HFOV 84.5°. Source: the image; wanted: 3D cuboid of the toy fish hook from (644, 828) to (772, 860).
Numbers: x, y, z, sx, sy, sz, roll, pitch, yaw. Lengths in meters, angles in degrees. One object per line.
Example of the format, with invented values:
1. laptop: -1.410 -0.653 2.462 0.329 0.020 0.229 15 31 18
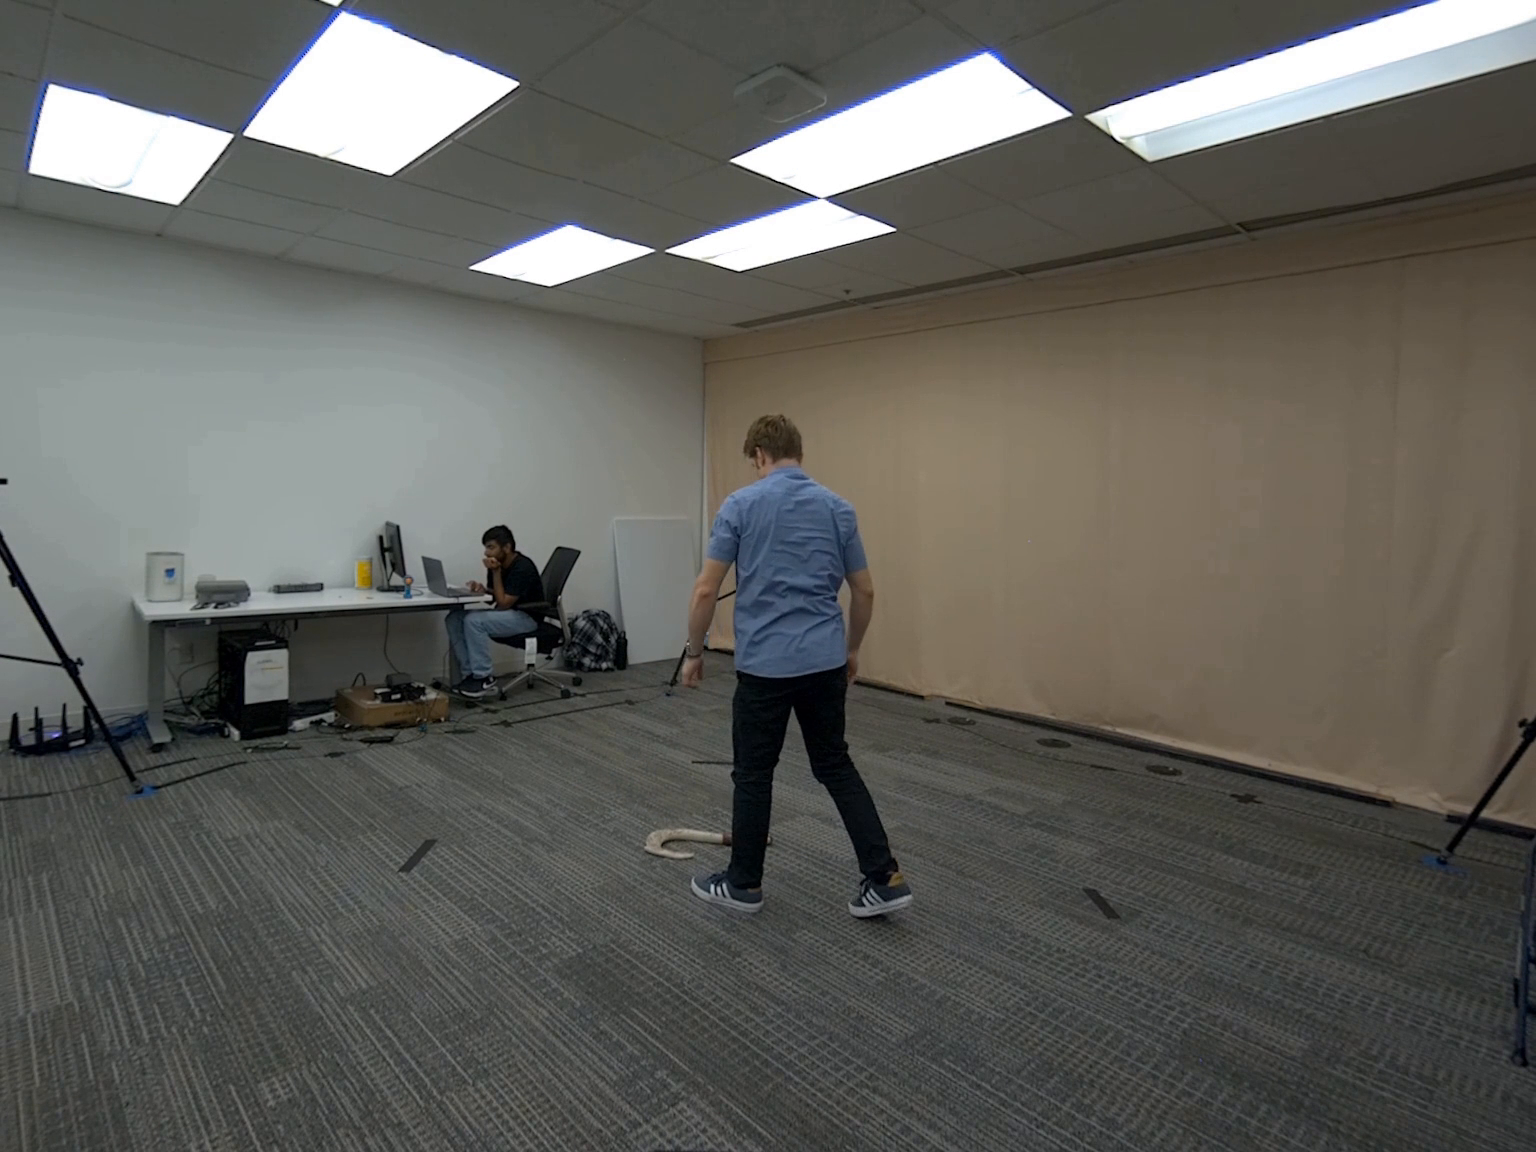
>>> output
1. toy fish hook: -0.239 1.067 3.340 0.506 0.048 0.227 0 13 -1
